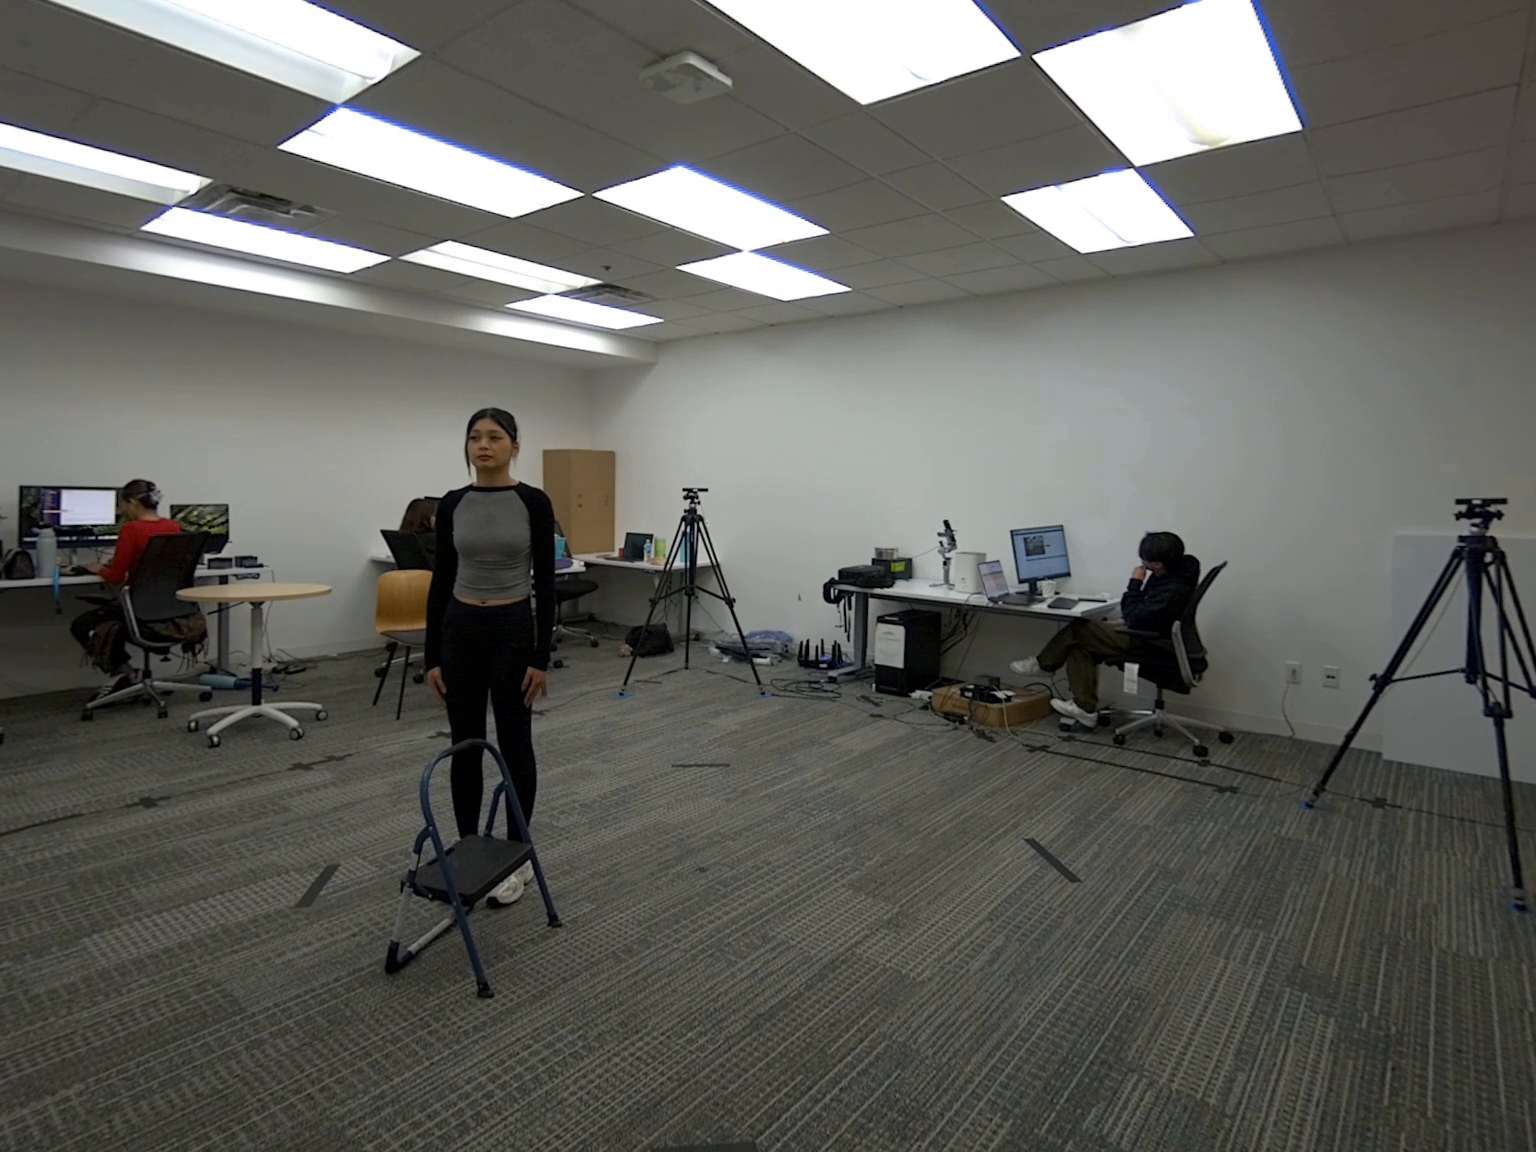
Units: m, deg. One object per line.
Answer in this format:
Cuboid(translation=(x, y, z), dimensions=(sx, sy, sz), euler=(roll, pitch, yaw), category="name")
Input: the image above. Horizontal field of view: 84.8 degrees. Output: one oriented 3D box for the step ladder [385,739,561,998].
Cuboid(translation=(-0.877, 0.817, 2.539), dimensions=(0.356, 0.605, 0.424), euler=(2, 3, 16), category="step ladder")
